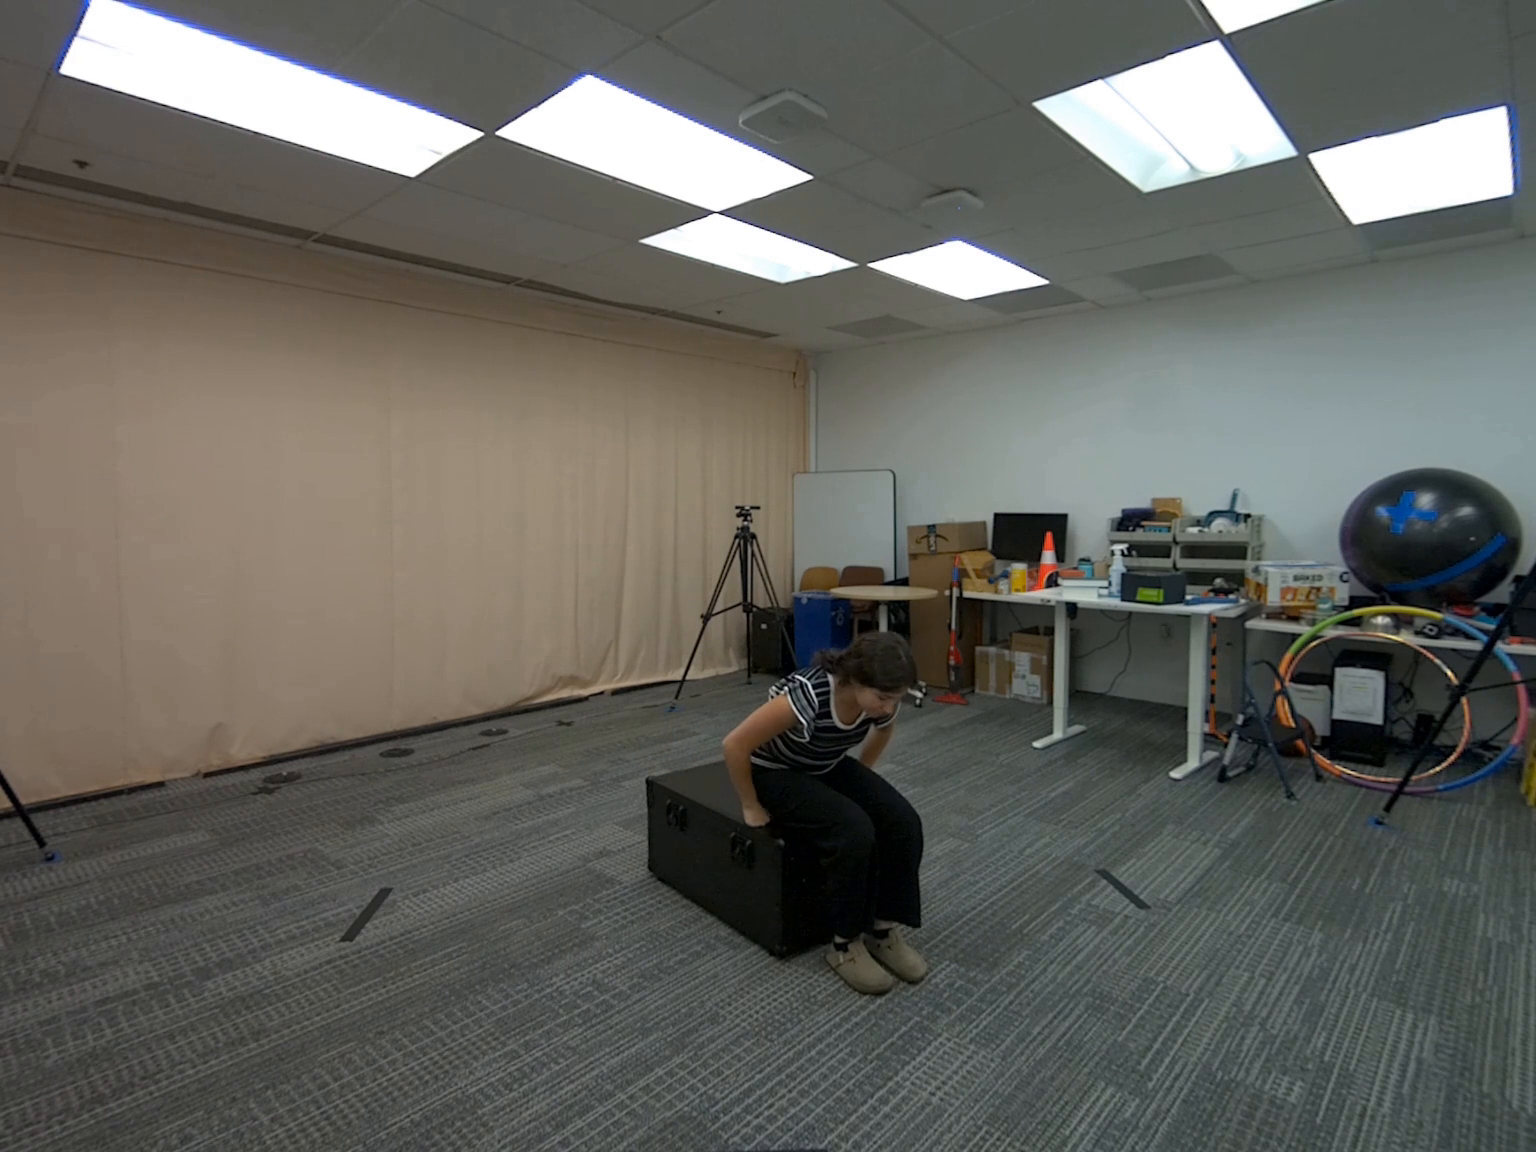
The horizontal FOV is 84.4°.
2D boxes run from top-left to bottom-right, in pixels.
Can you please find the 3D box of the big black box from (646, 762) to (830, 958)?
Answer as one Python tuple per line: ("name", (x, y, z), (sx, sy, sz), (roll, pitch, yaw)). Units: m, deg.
("big black box", (-0.040, 0.953, 3.028), (0.506, 0.395, 0.890), (-4, 7, -38))
